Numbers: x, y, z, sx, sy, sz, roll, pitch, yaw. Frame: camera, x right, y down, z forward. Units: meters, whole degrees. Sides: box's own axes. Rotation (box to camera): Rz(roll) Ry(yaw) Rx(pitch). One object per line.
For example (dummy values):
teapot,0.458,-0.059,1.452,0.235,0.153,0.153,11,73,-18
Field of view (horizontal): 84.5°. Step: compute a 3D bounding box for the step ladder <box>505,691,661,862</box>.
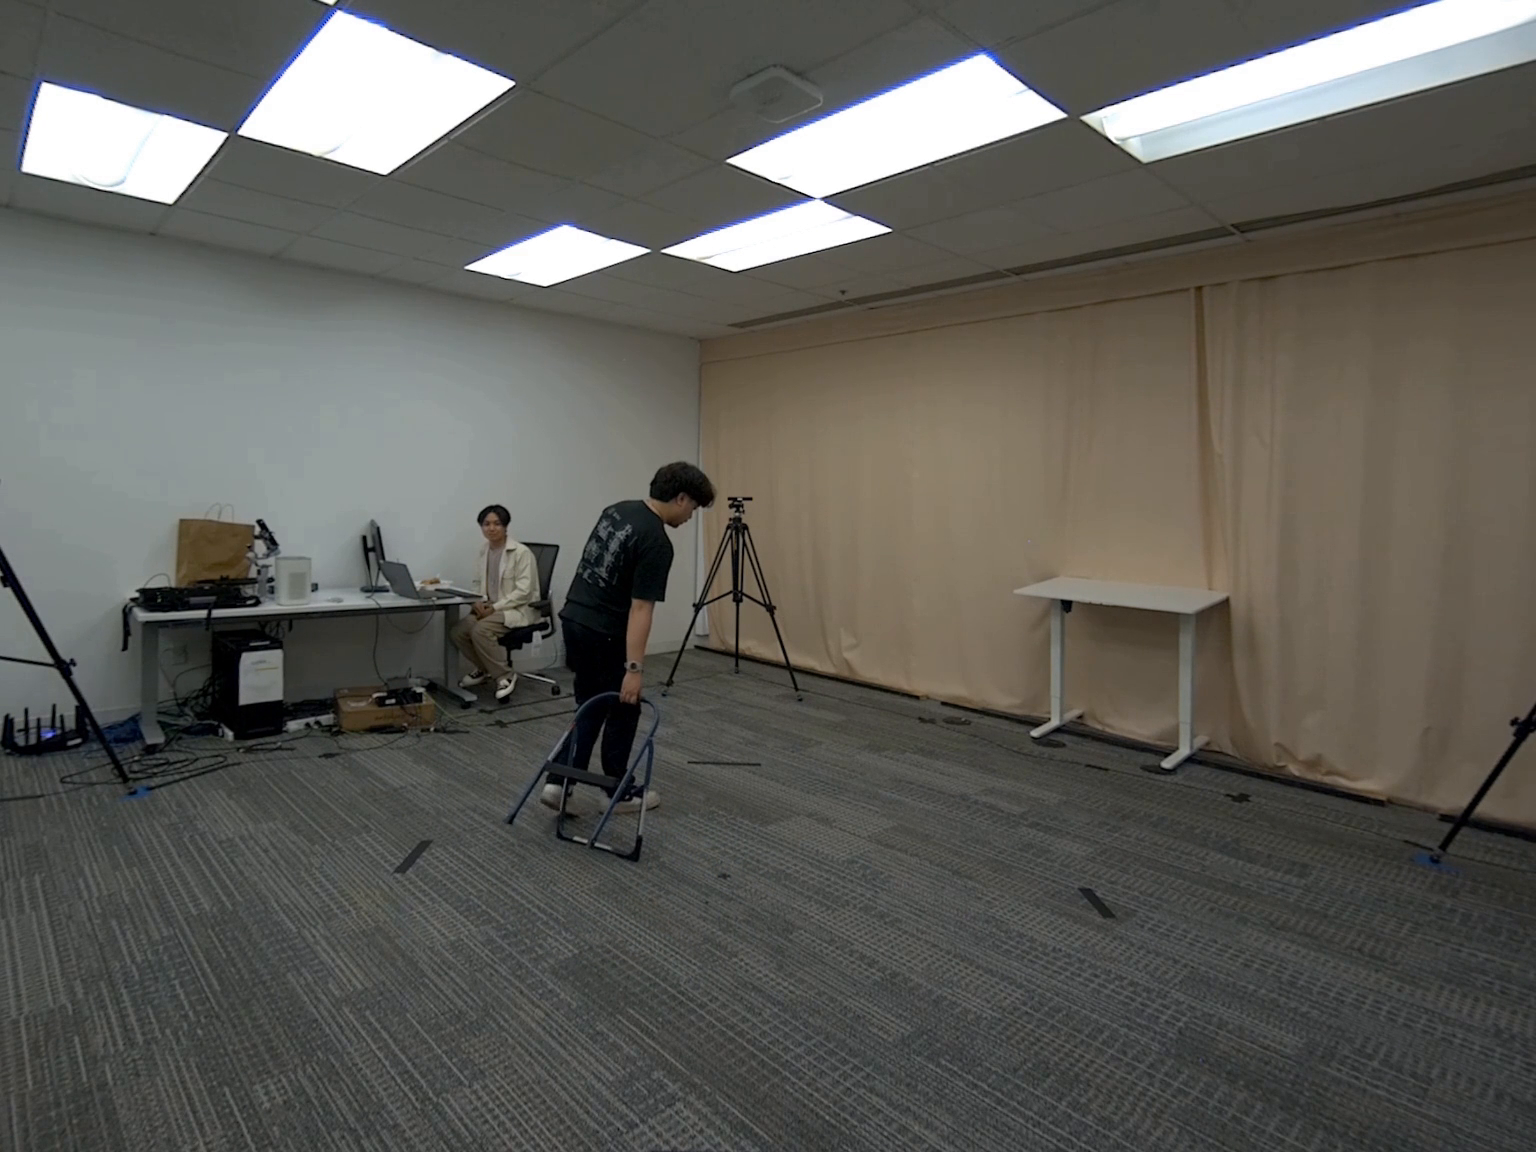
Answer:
step ladder,-0.677,0.742,3.290,0.440,0.612,0.338,4,-24,31
